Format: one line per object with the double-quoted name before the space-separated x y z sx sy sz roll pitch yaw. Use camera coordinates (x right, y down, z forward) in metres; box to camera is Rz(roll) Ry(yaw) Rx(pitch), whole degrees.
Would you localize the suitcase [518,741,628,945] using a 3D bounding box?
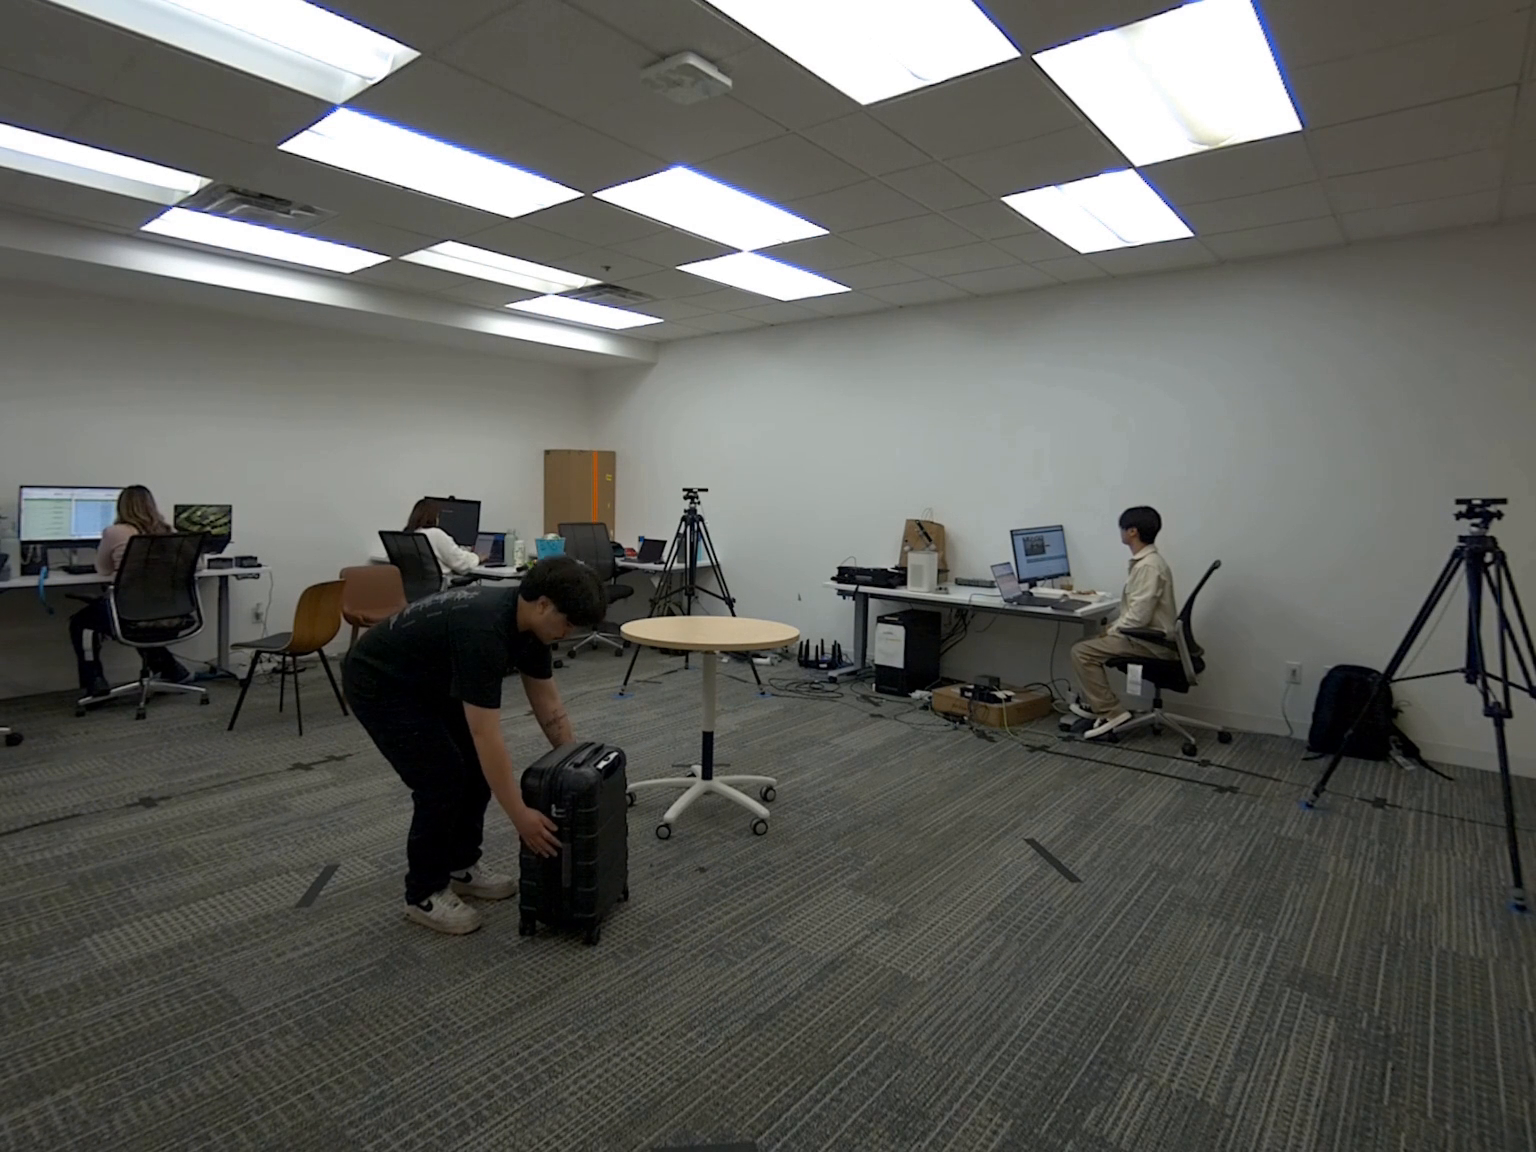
"suitcase" -0.626 0.836 2.711 0.251 0.547 0.373 1 5 10
